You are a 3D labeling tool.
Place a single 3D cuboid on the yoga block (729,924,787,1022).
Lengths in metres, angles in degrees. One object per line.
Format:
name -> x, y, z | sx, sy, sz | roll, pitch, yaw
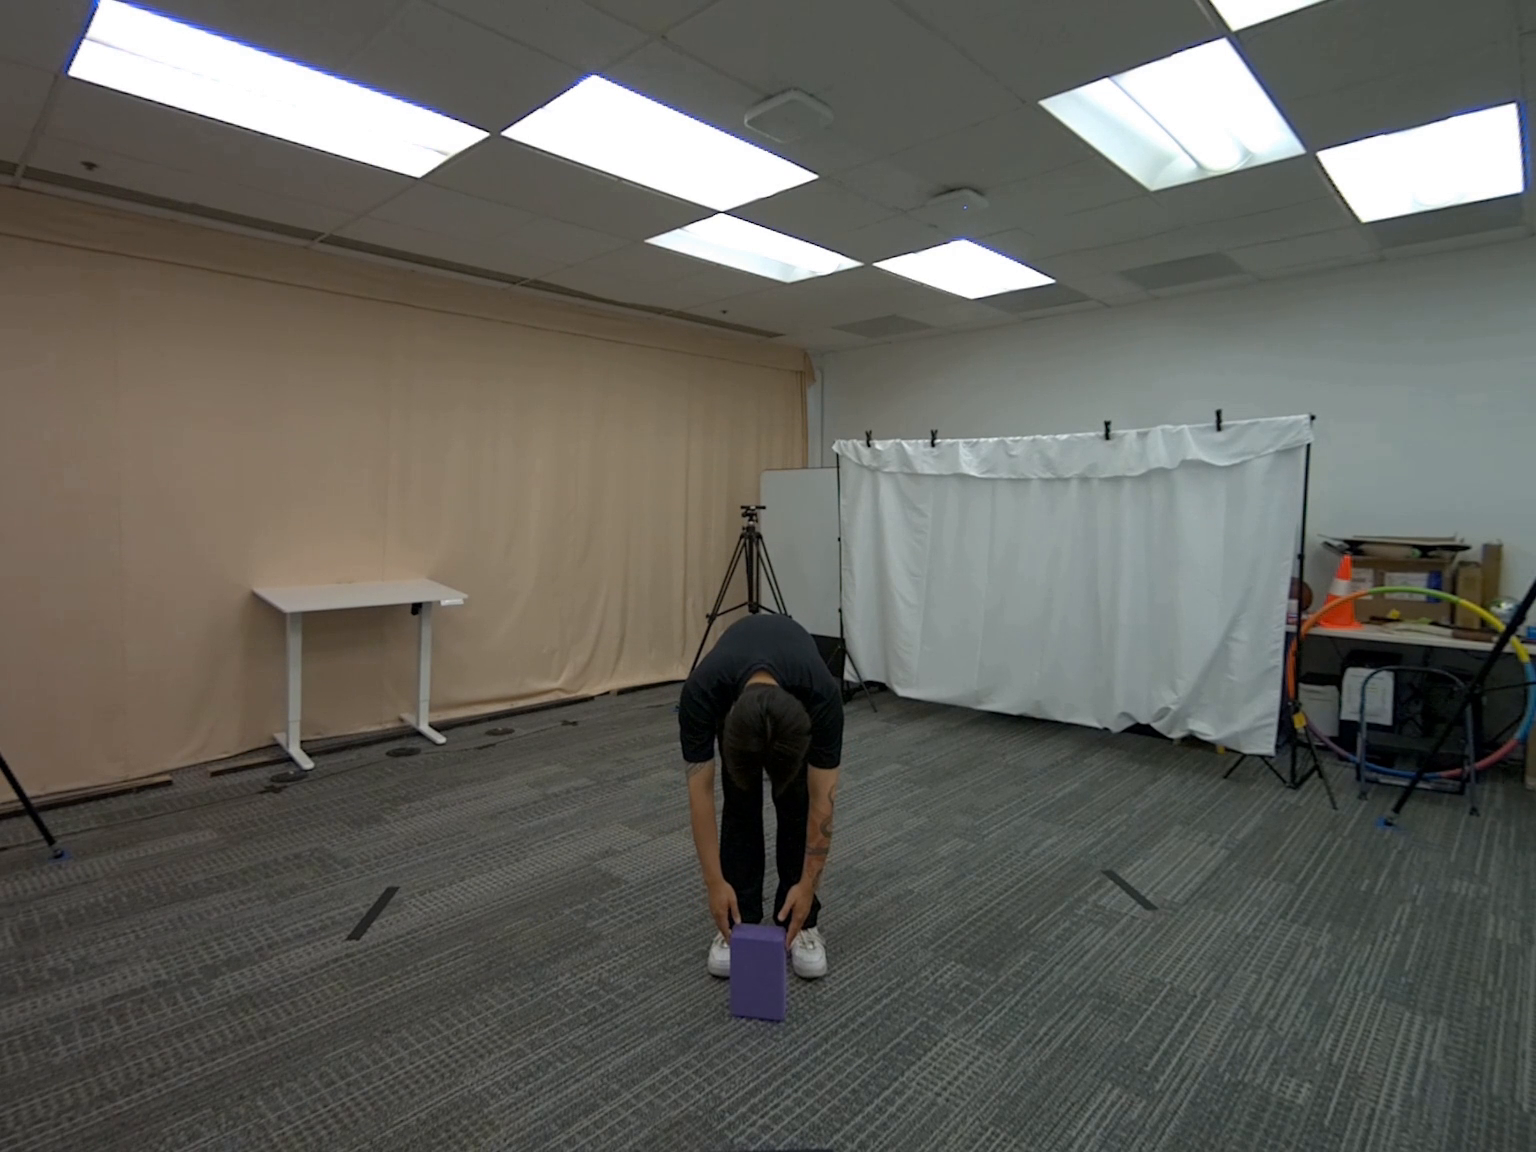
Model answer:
yoga block -> -0.029, 1.079, 2.314 | 0.150, 0.229, 0.076 | -1, 3, 9
